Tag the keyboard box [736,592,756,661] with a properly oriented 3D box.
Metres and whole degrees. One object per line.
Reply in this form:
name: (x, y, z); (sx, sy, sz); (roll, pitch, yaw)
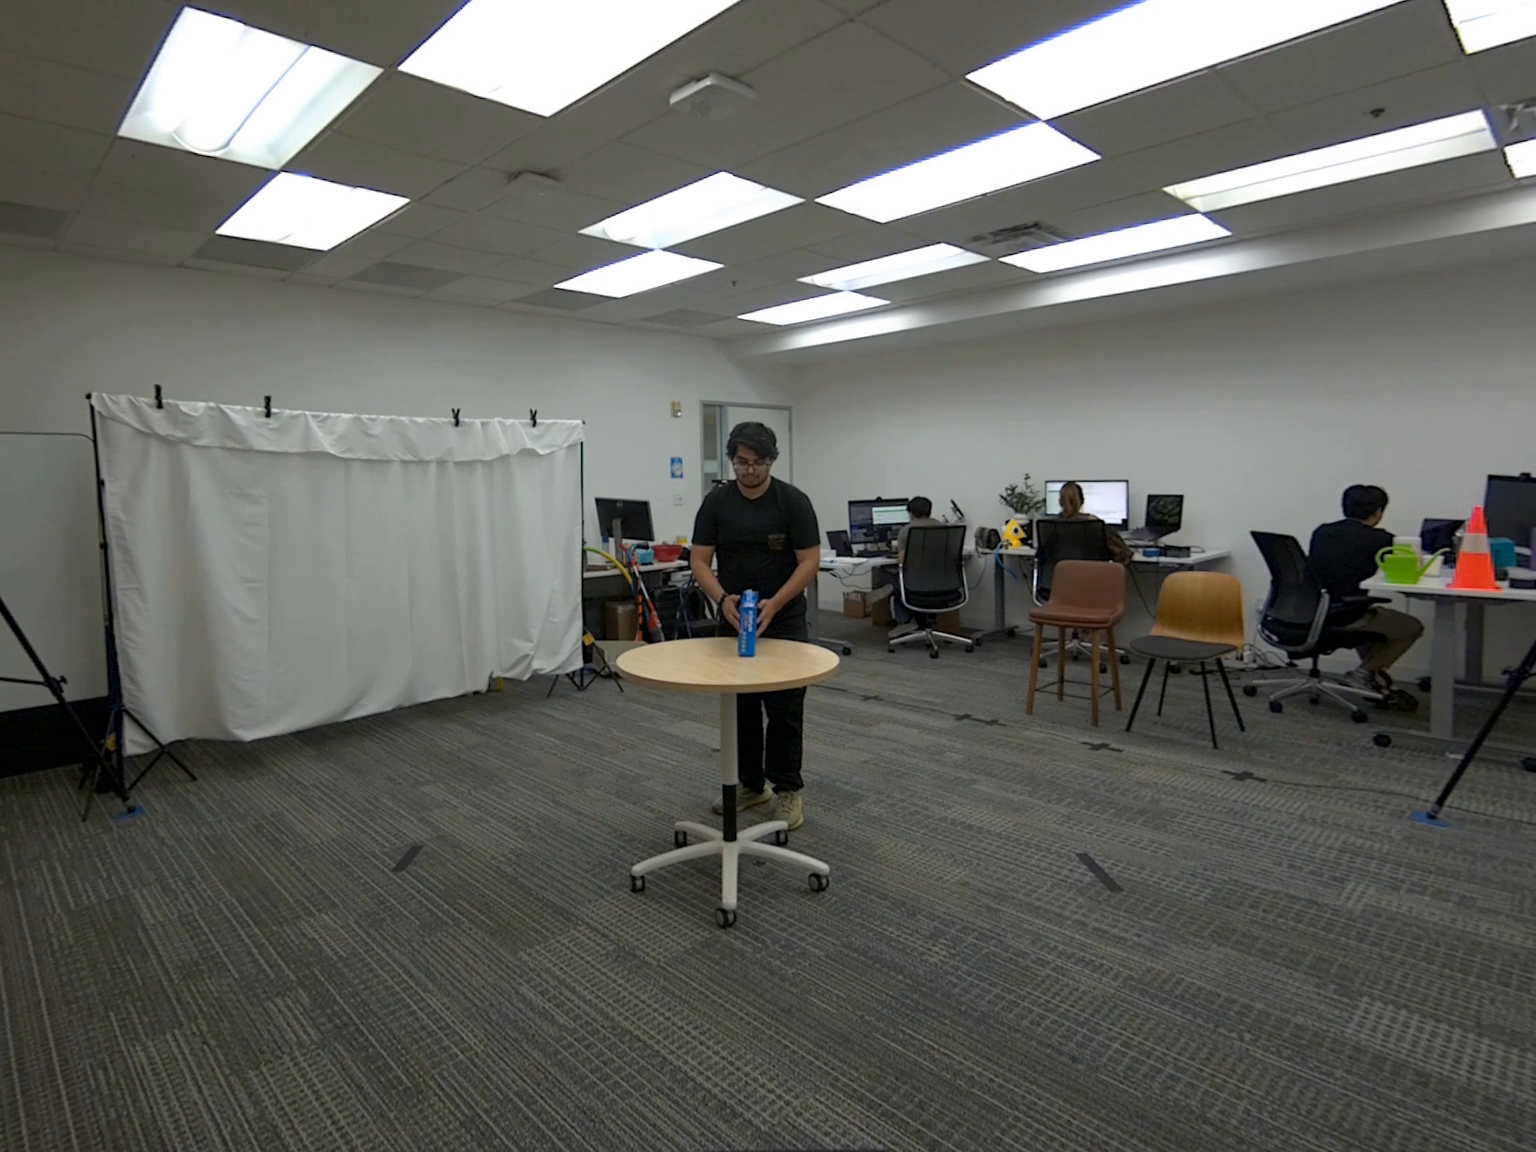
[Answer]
keyboard box: (-0.083, 0.176, 3.173); (0.059, 0.175, 0.439); (3, 6, -2)
